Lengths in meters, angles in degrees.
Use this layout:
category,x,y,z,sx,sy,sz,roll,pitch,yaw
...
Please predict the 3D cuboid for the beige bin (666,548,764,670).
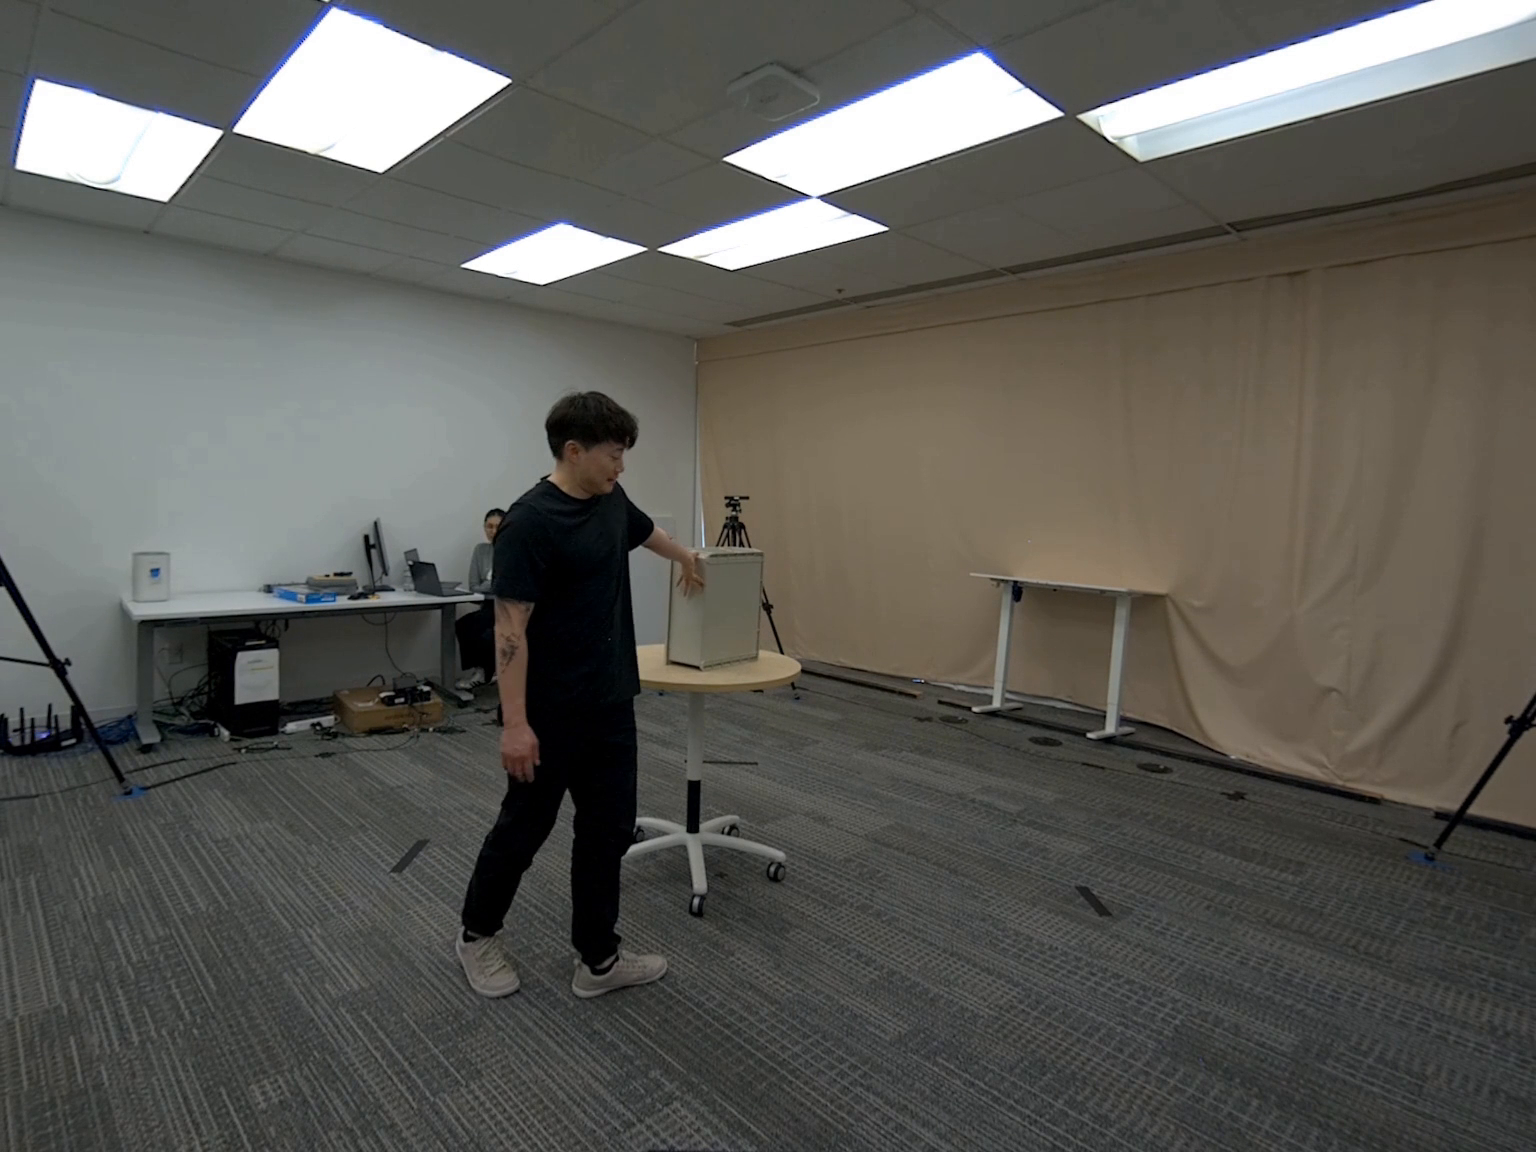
category,x,y,z,sx,sy,sz,roll,pitch,yaw
beige bin,-0.188,0.112,3.110,0.194,0.421,0.369,7,6,37
